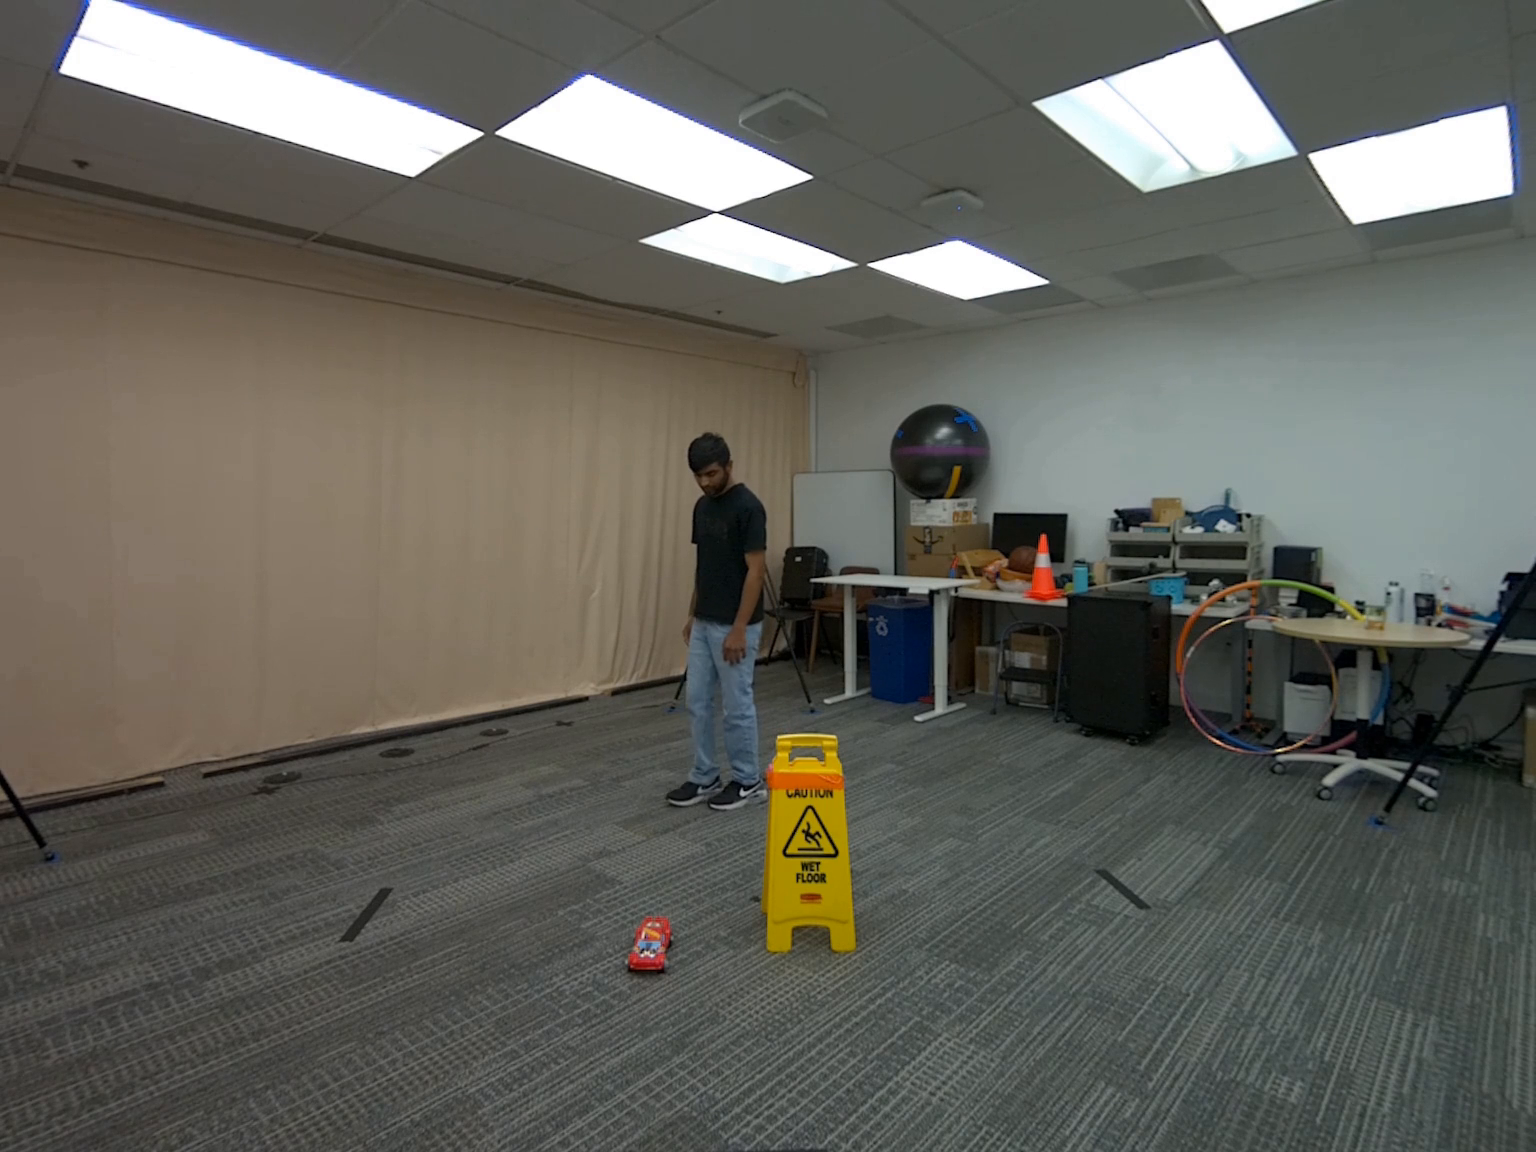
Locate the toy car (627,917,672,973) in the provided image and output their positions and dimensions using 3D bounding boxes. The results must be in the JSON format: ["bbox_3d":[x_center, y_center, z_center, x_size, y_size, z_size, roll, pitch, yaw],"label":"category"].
[{"bbox_3d":[-0.364,1.141,2.615,0.130,0.082,0.256,-1,16,0],"label":"toy car"}]
